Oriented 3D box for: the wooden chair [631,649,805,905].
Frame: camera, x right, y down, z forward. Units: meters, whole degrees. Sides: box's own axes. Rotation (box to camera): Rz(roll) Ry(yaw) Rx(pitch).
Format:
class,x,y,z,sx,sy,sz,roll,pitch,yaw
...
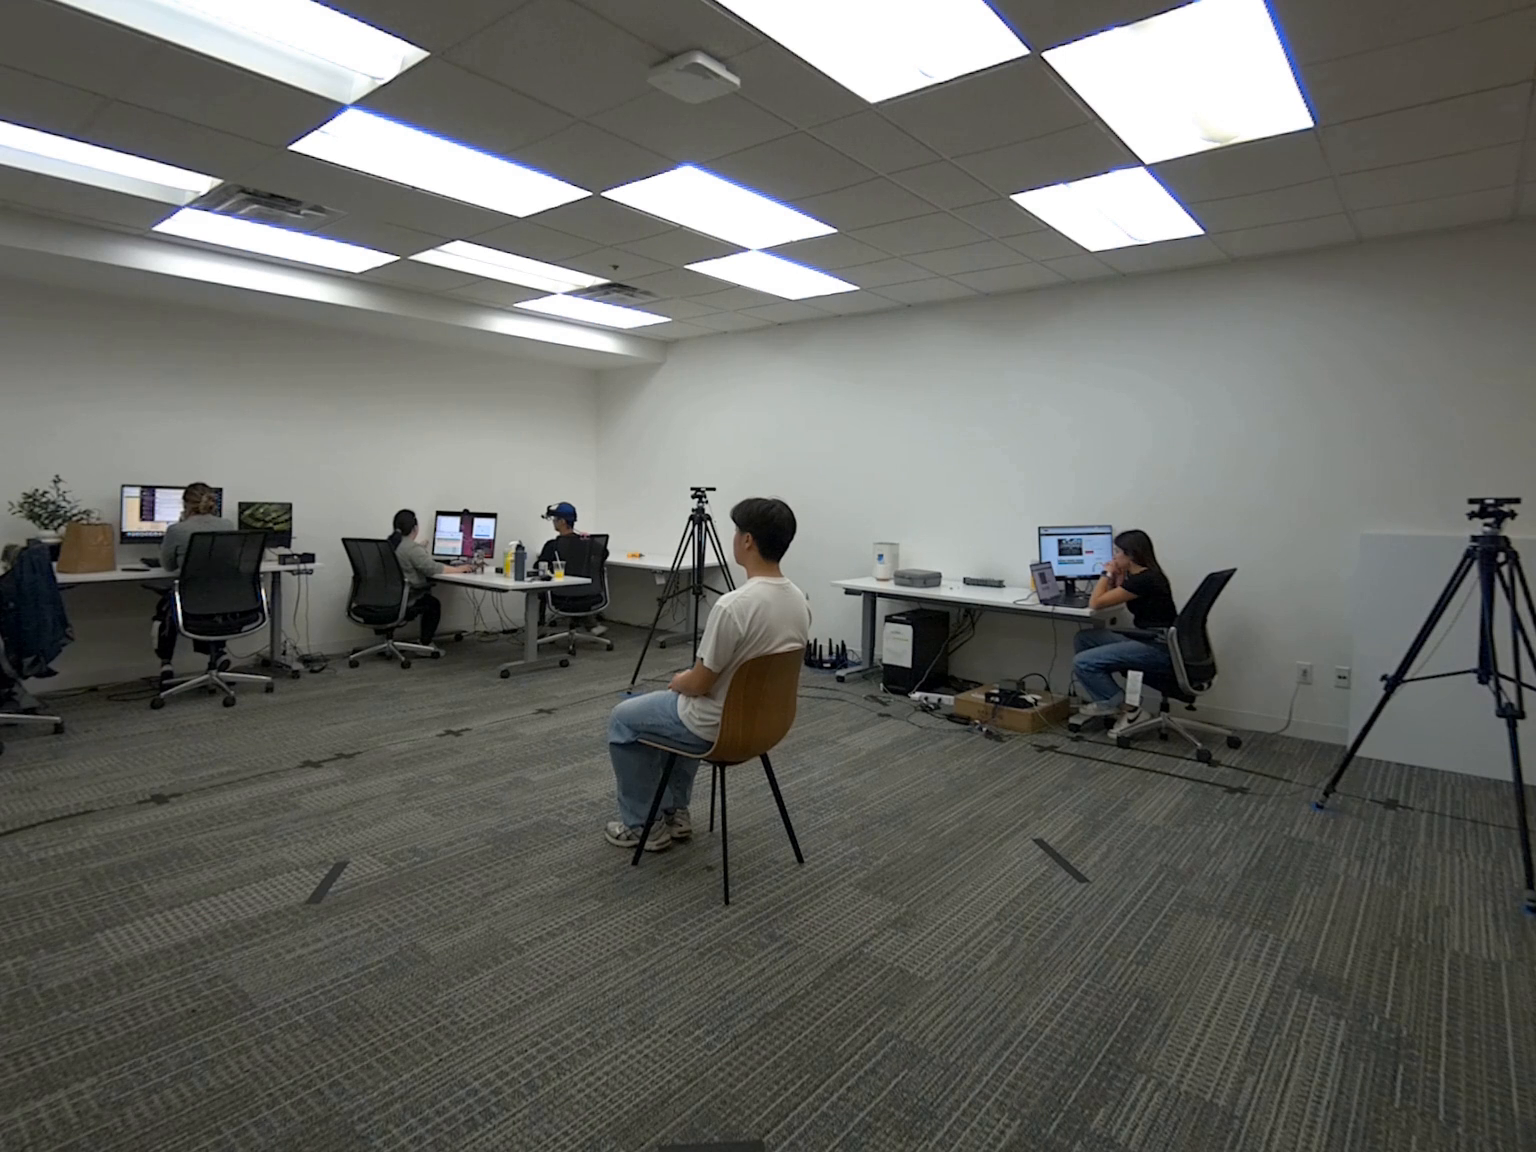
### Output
class,x,y,z,sx,sy,sz,roll,pitch,yaw
wooden chair,-0.181,0.640,3.119,0.542,0.873,0.463,10,7,38
